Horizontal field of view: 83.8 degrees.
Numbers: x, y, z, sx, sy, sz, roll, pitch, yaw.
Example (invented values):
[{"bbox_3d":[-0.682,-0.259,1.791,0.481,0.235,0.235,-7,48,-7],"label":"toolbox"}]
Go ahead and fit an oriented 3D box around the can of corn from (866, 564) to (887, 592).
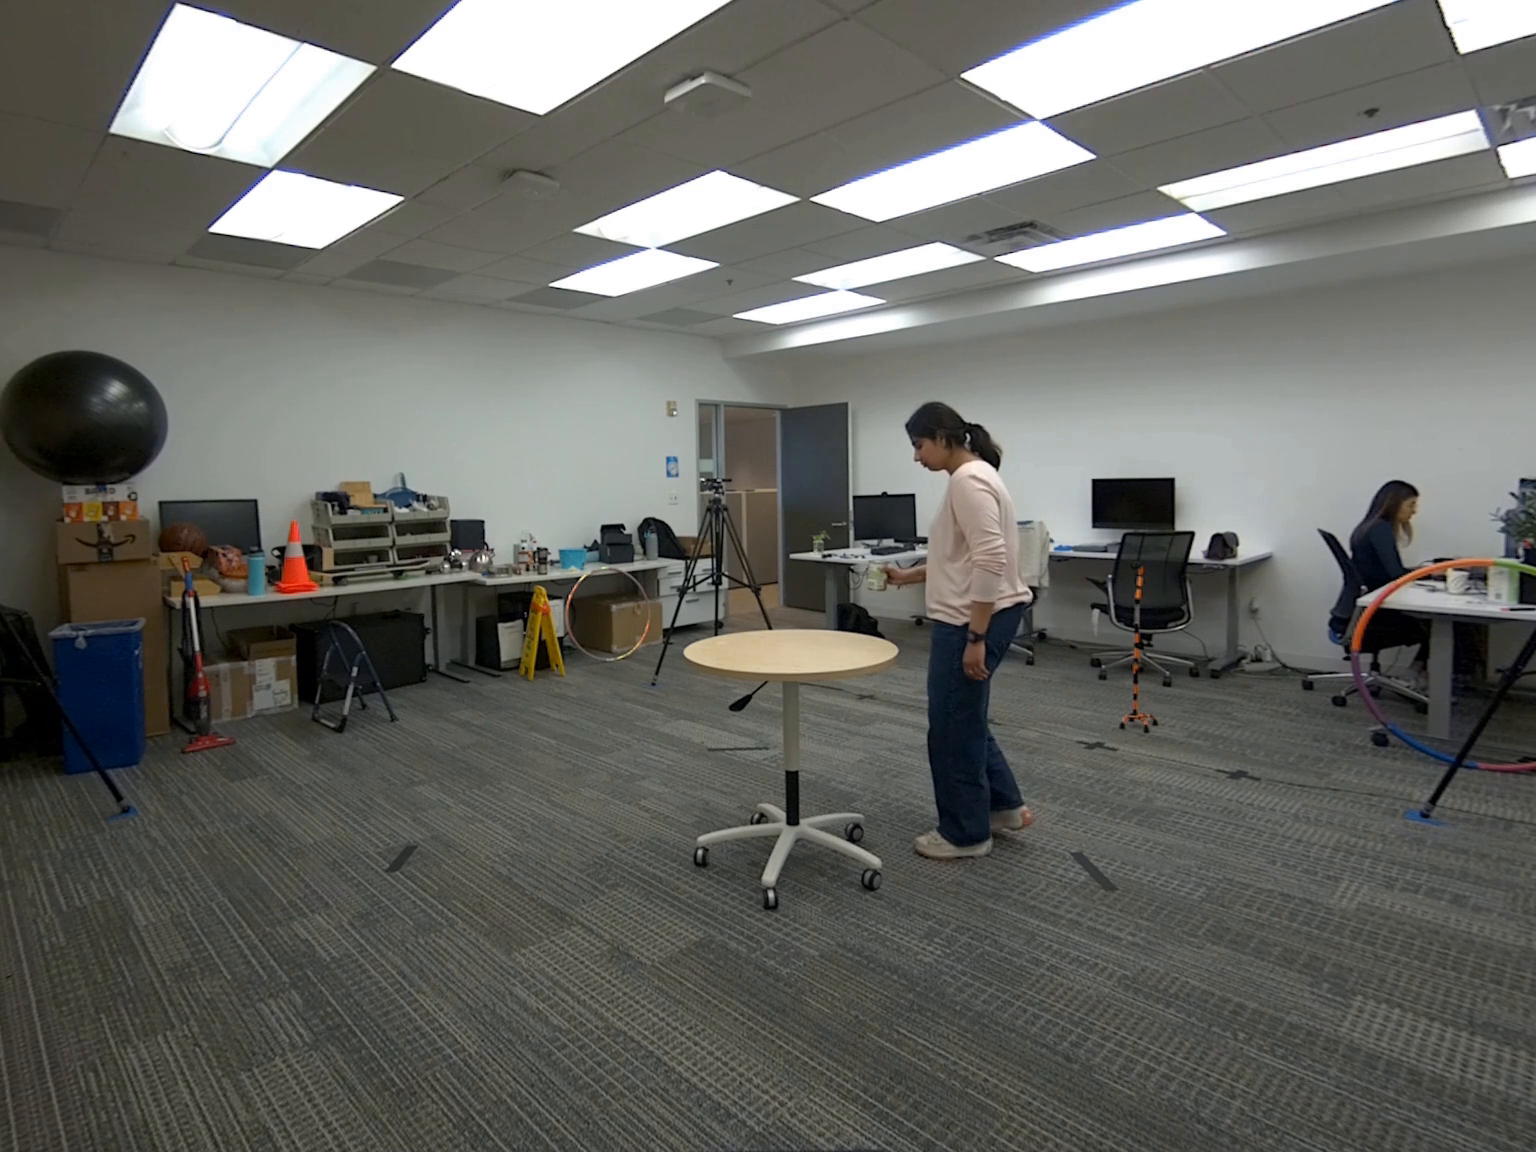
[{"bbox_3d":[0.466,-0.008,3.402,0.074,0.111,0.074,1,1,-2],"label":"can of corn"}]
